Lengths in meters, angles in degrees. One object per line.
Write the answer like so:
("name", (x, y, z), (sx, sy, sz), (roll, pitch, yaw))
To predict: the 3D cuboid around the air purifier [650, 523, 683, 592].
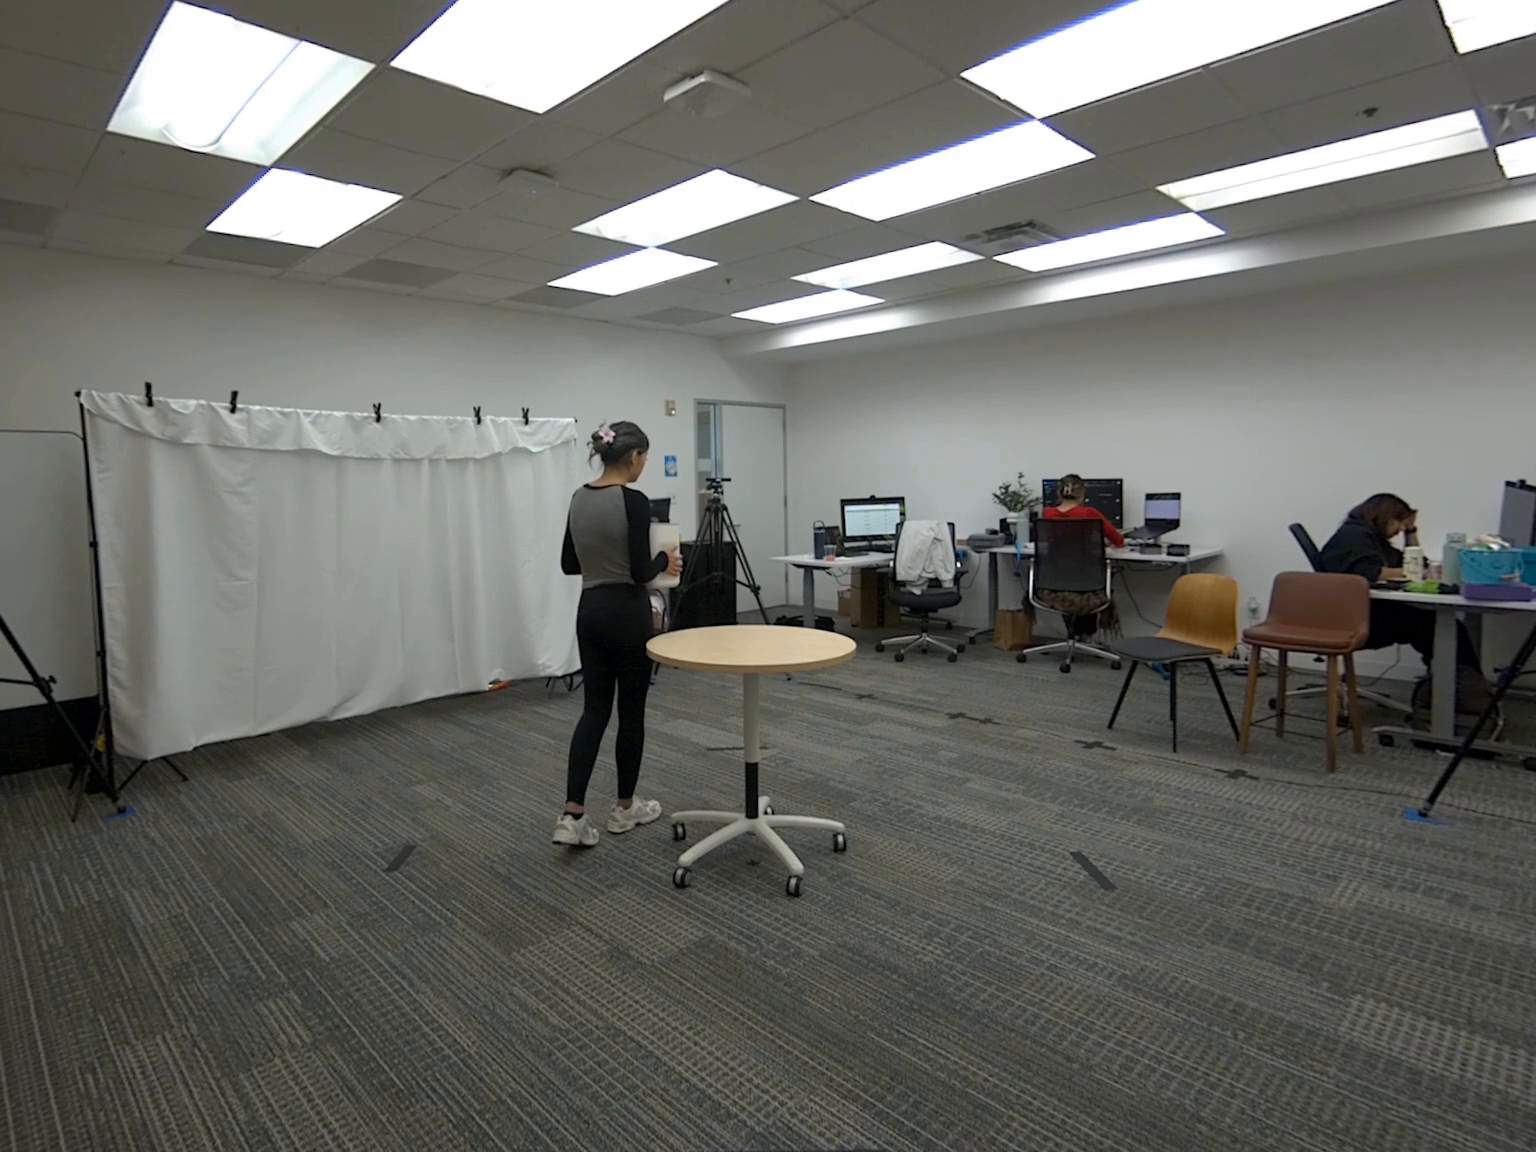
("air purifier", (-0.478, -0.083, 3.550), (0.176, 0.265, 0.167), (2, 4, 44))
